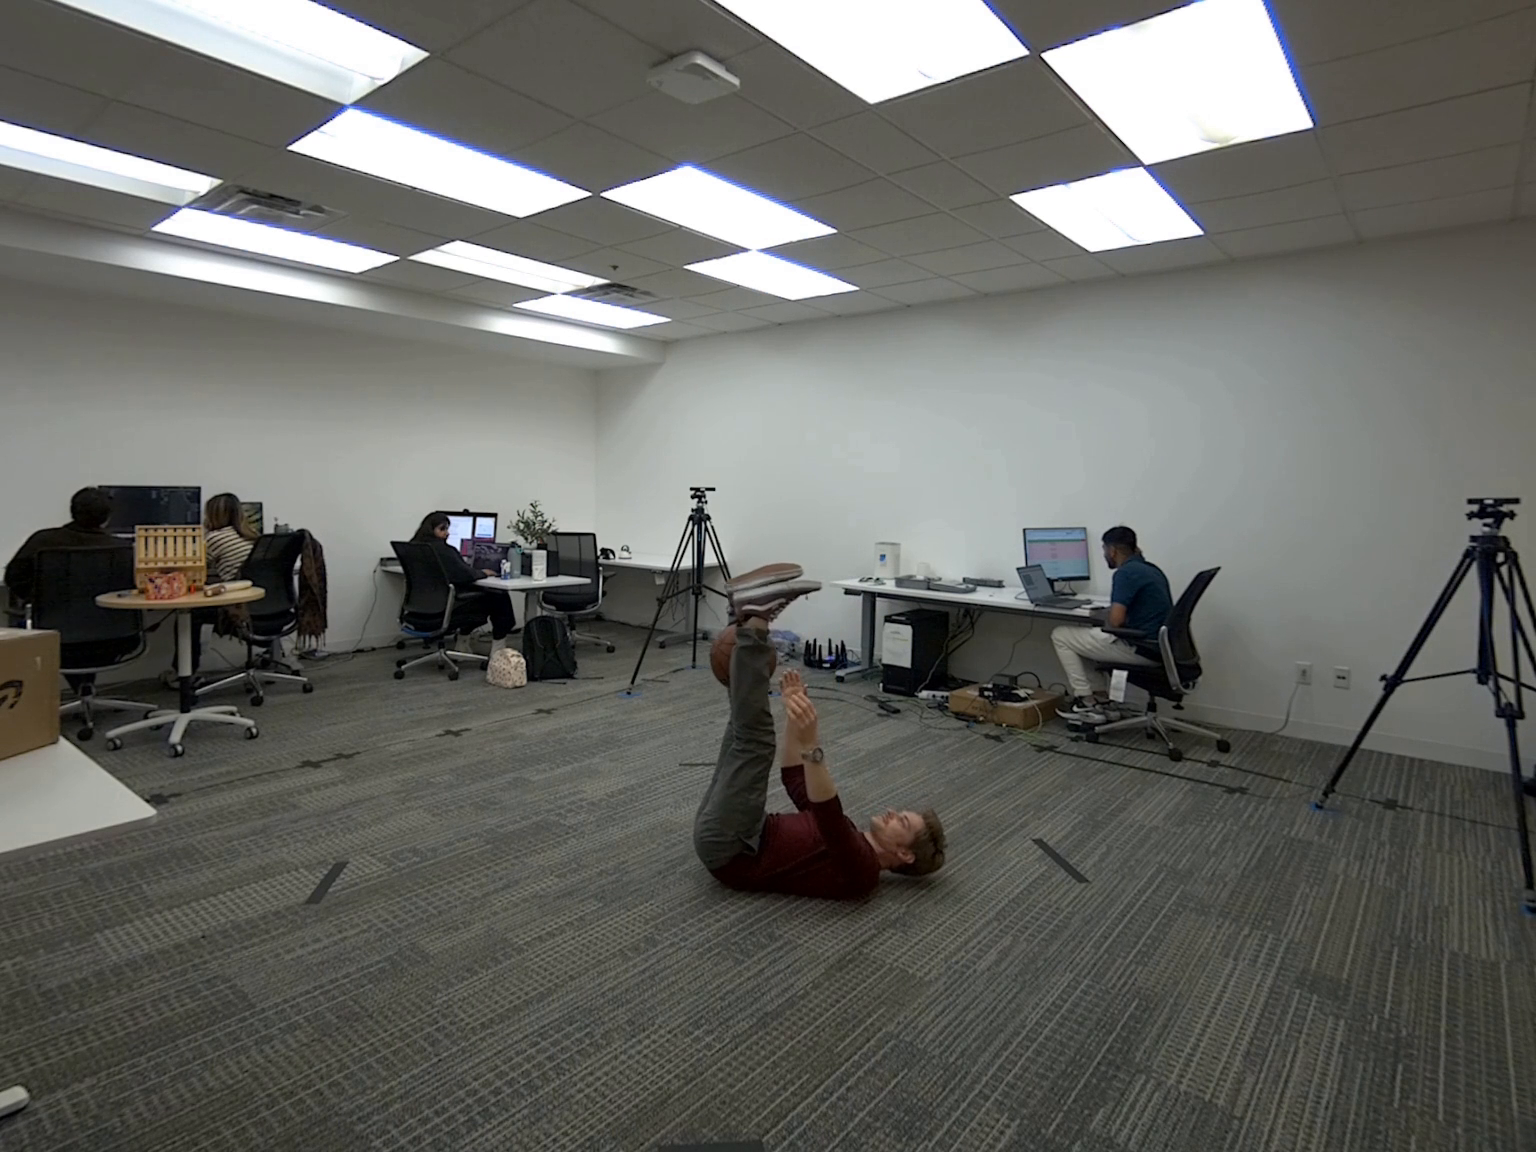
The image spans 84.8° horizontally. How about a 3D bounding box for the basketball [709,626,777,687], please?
[{"bbox_3d":[-0.104,0.286,2.991,0.235,0.235,0.237,1,4,-2],"label":"basketball"}]
